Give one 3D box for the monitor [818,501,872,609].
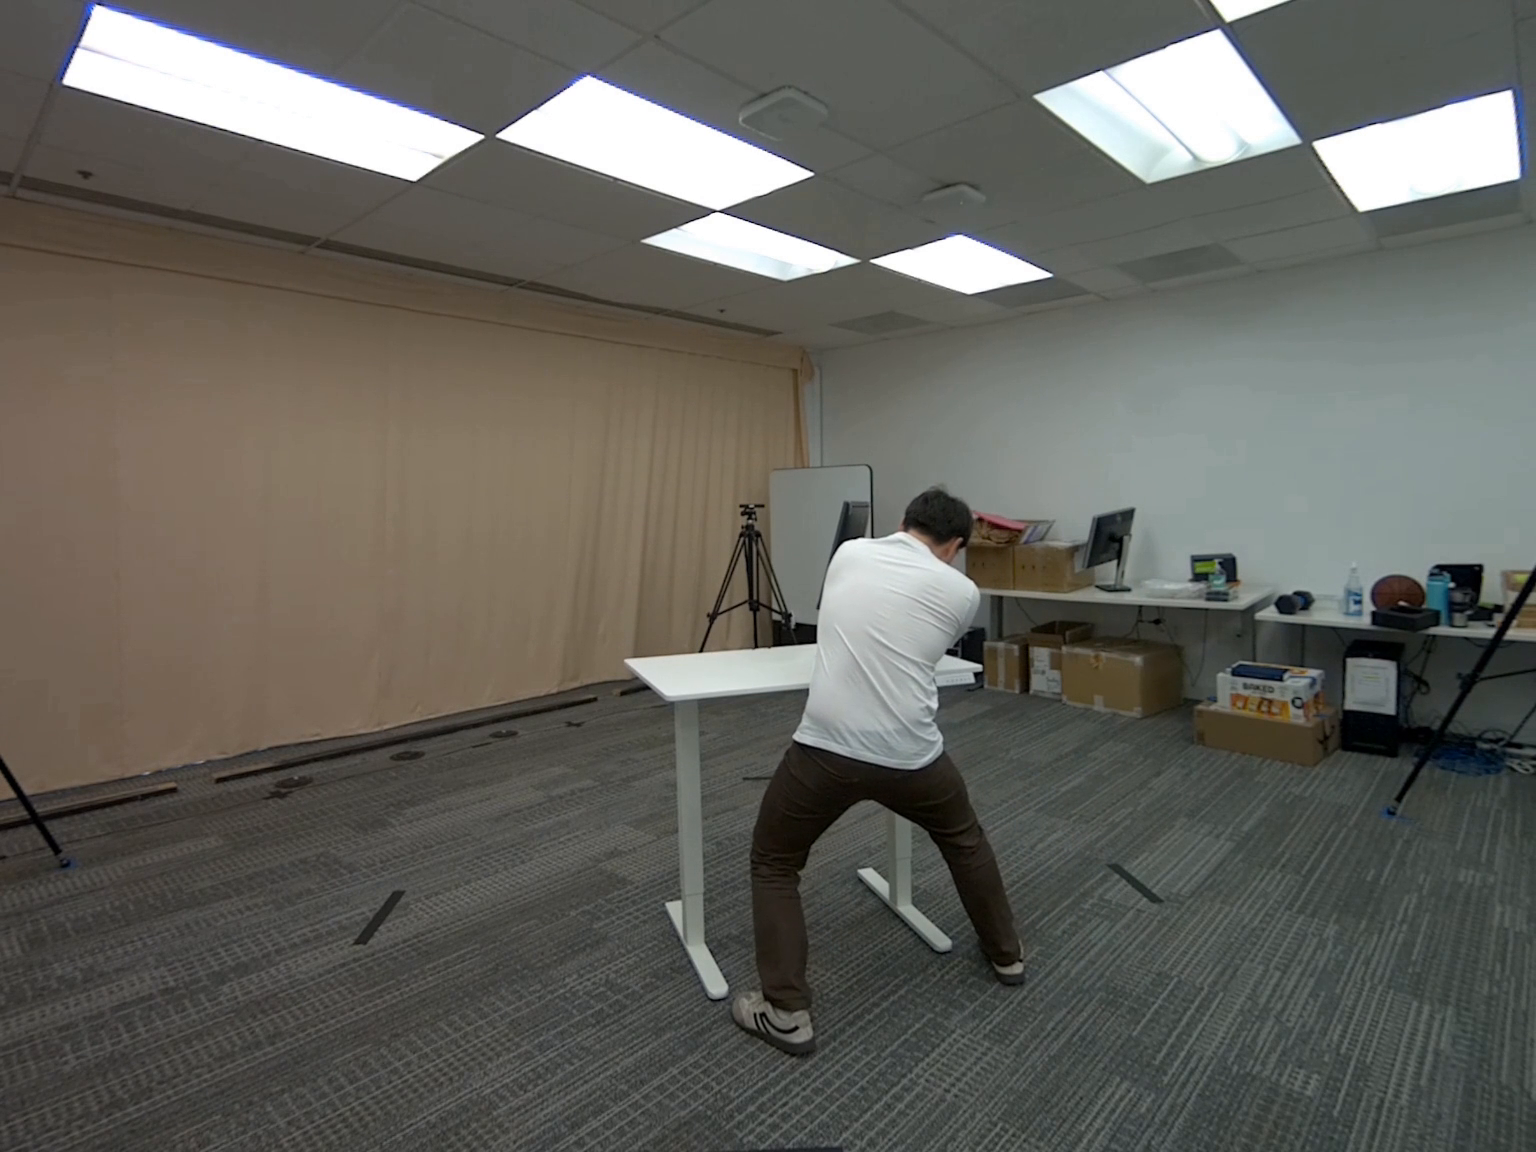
[{"bbox_3d":[0.294,0.003,2.872,0.190,0.521,0.532,2,5,13],"label":"monitor"}]
